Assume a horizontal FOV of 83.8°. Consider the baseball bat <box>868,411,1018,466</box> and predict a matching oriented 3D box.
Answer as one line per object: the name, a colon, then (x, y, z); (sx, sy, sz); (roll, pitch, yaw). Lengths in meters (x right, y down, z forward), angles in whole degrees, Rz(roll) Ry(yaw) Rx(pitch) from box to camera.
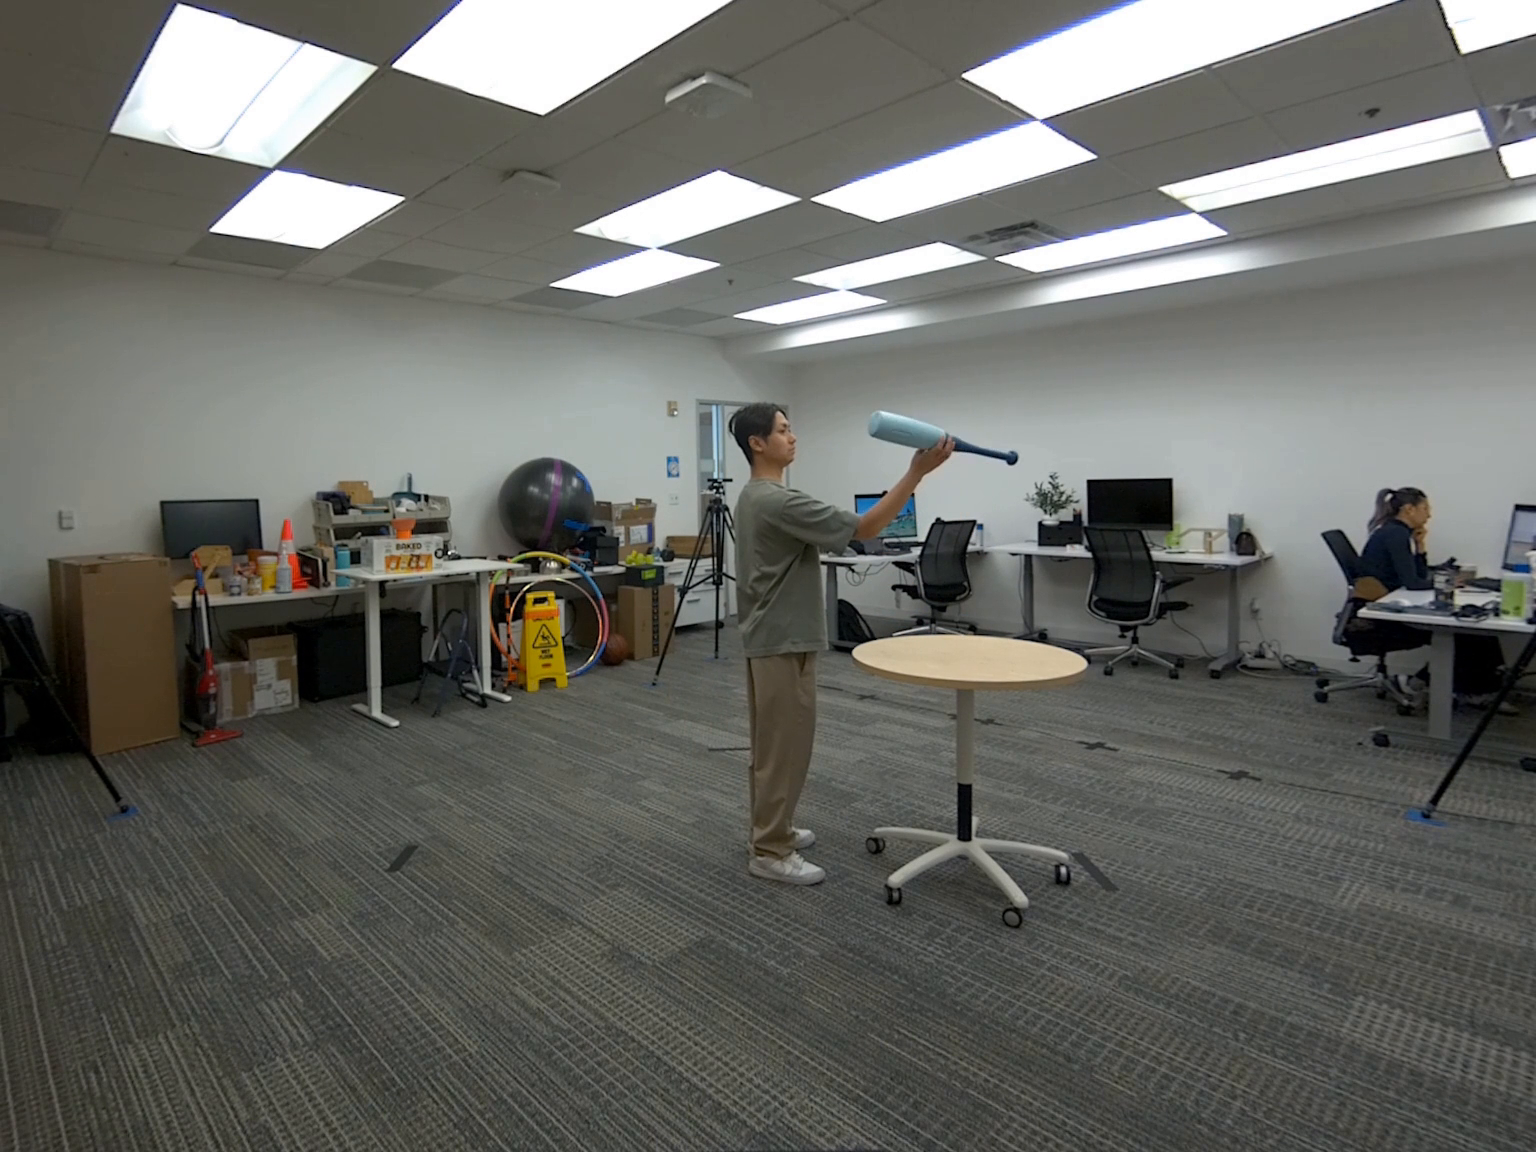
baseball bat: (0.583, -0.436, 2.780); (0.532, 0.089, 0.091); (11, 0, -20)
